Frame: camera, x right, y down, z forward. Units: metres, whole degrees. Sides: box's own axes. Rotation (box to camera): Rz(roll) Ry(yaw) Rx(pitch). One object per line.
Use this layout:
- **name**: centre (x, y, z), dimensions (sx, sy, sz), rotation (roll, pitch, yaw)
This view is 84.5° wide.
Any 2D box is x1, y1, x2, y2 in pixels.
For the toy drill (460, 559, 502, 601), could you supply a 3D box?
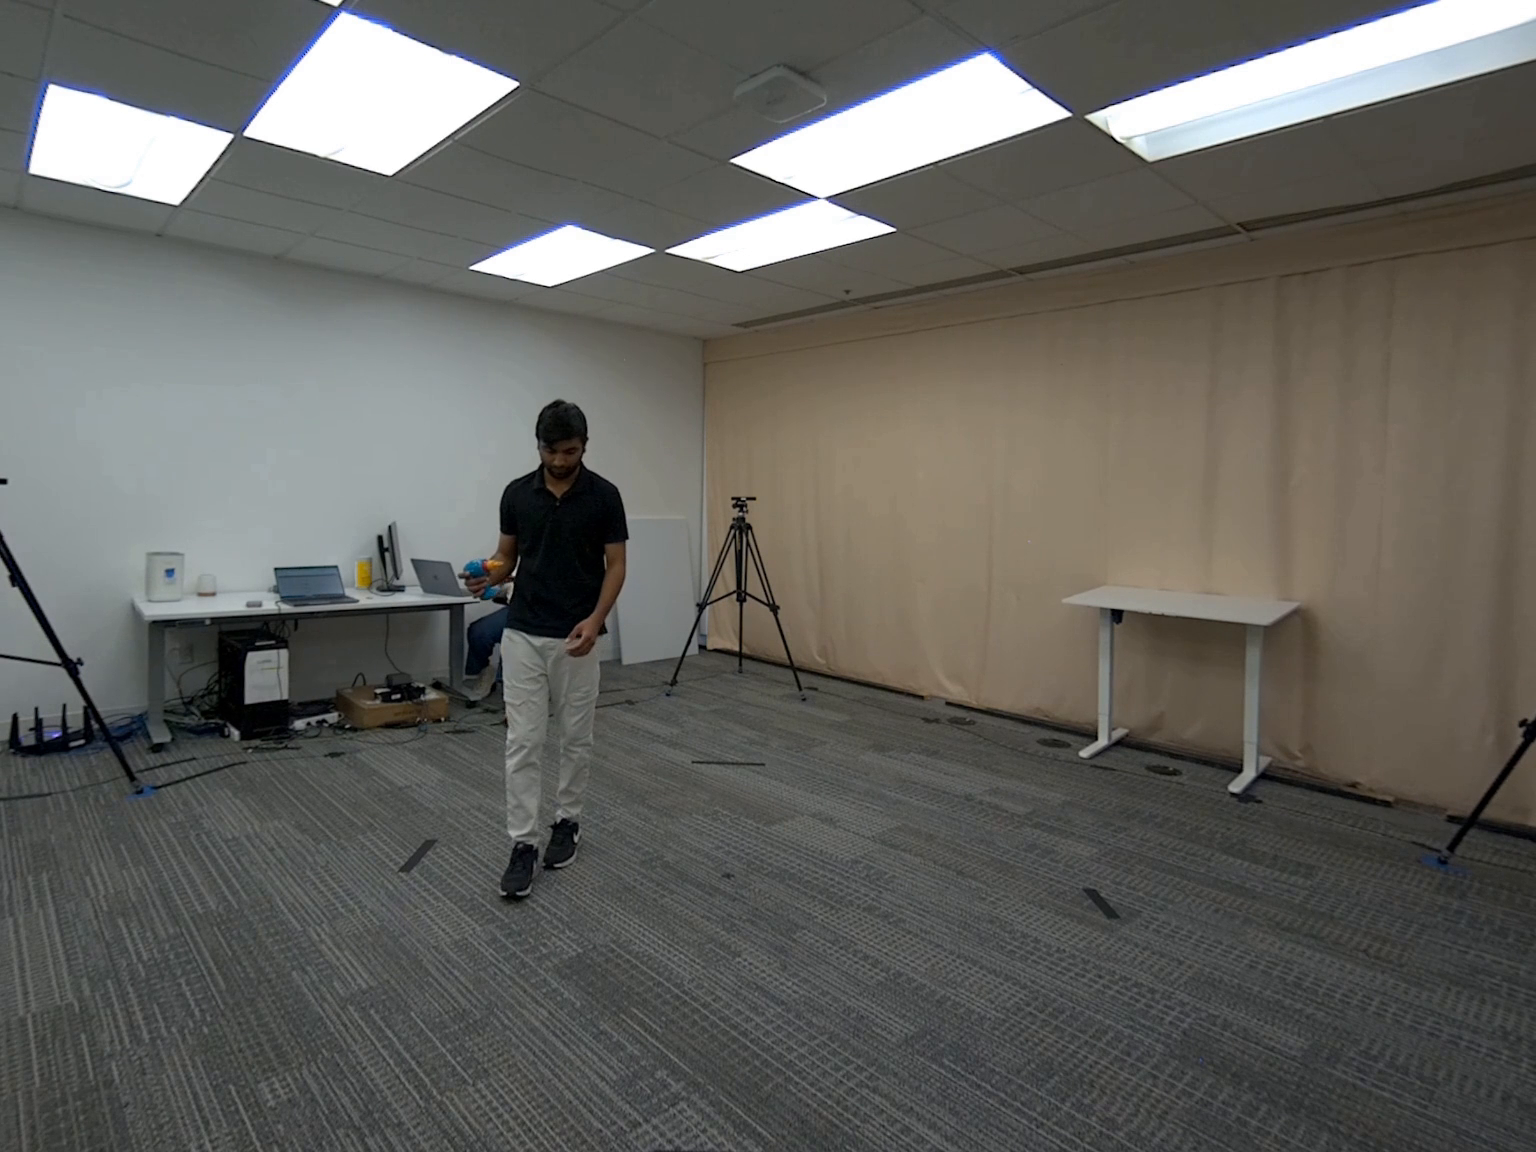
- **toy drill**: centre (-0.949, -0.006, 2.856), dimensions (0.171, 0.142, 0.062), rotation (-8, 41, 16)
